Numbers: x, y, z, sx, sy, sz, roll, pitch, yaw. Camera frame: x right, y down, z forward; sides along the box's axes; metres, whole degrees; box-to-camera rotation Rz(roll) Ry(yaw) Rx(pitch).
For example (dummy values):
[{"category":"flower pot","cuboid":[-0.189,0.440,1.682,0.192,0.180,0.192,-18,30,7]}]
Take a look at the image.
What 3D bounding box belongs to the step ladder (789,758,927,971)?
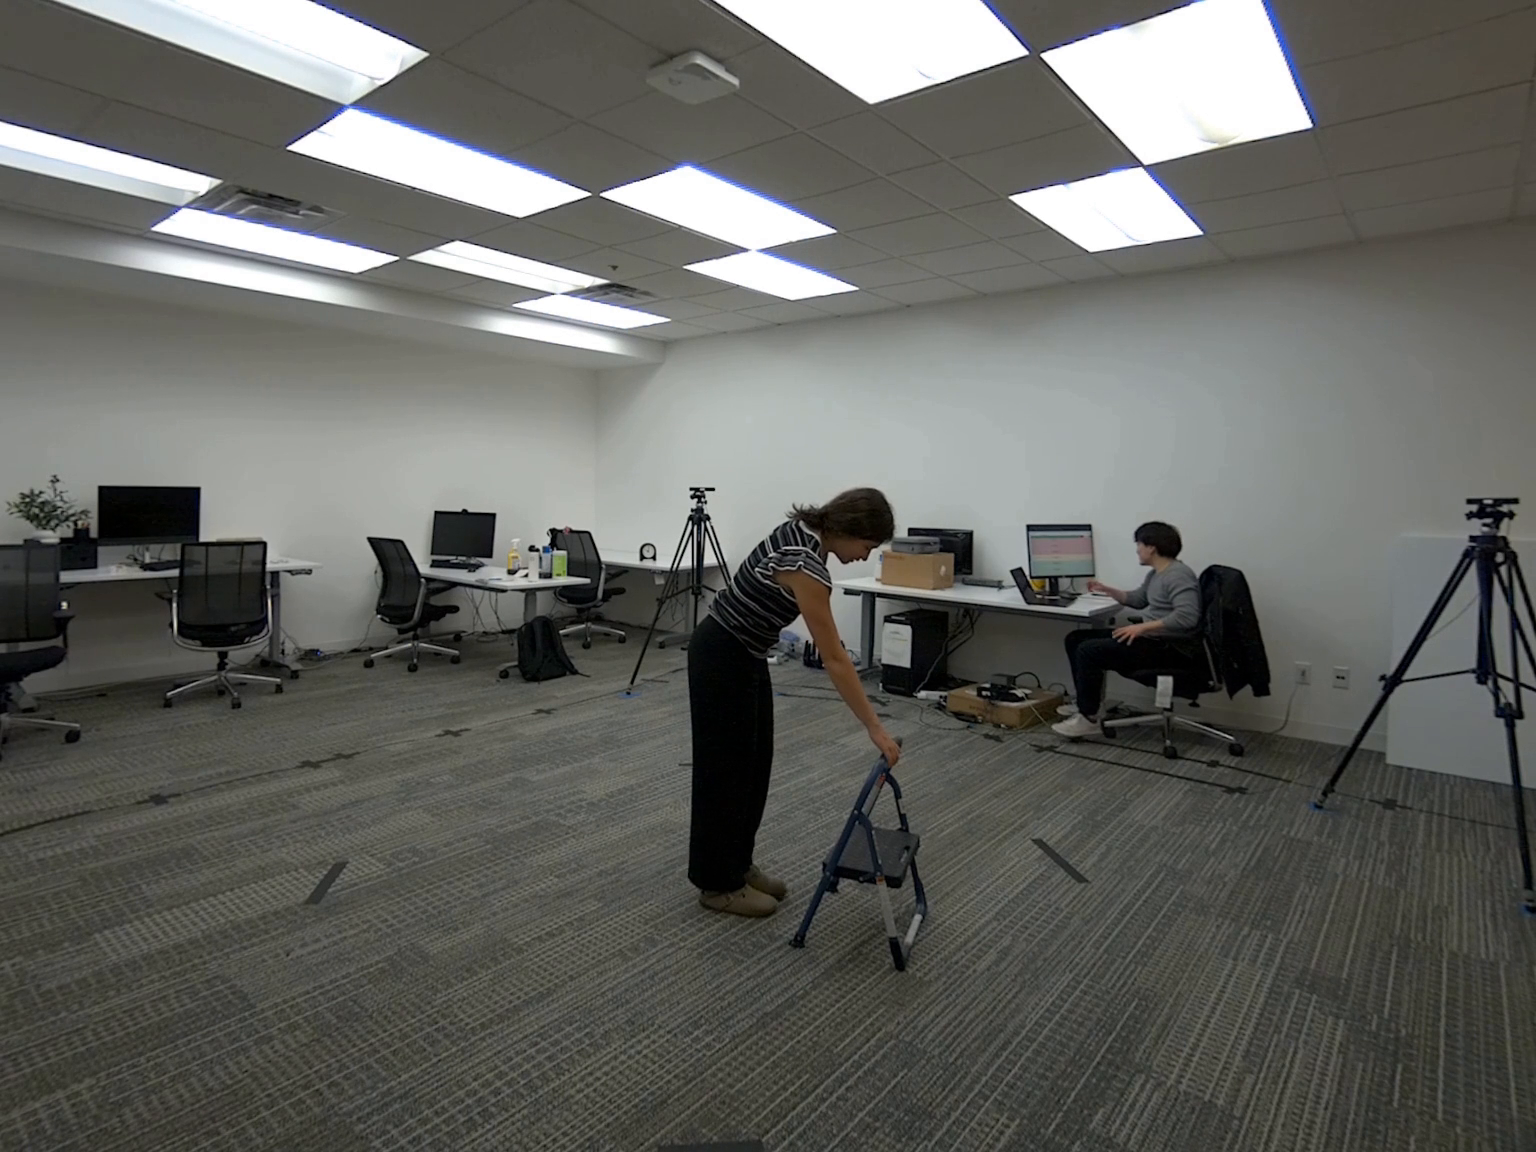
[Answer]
[{"category":"step ladder","cuboid":[0.302,0.815,2.701,0.357,0.604,0.422,3,4,21]}]
